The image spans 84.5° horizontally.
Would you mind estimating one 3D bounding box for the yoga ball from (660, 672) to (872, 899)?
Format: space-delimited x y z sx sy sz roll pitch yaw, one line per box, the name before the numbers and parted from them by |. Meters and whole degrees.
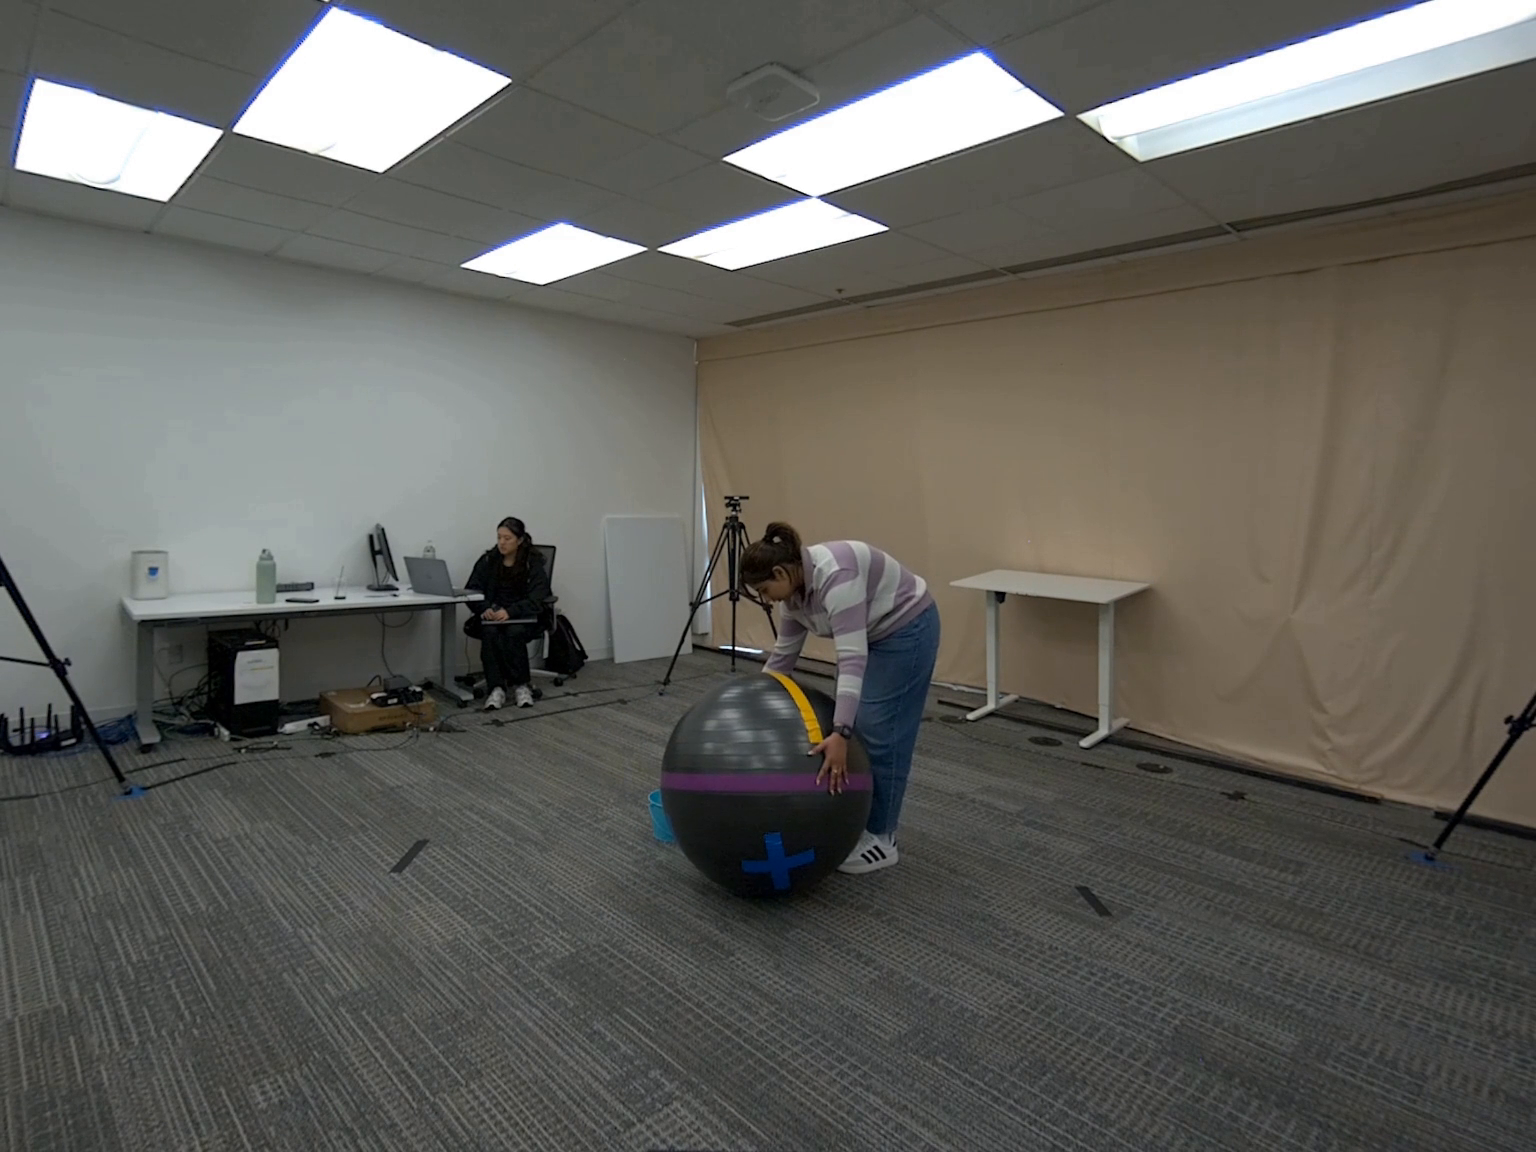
yoga ball | -0.014 0.743 3.006 0.757 0.756 0.761 1 4 -1
